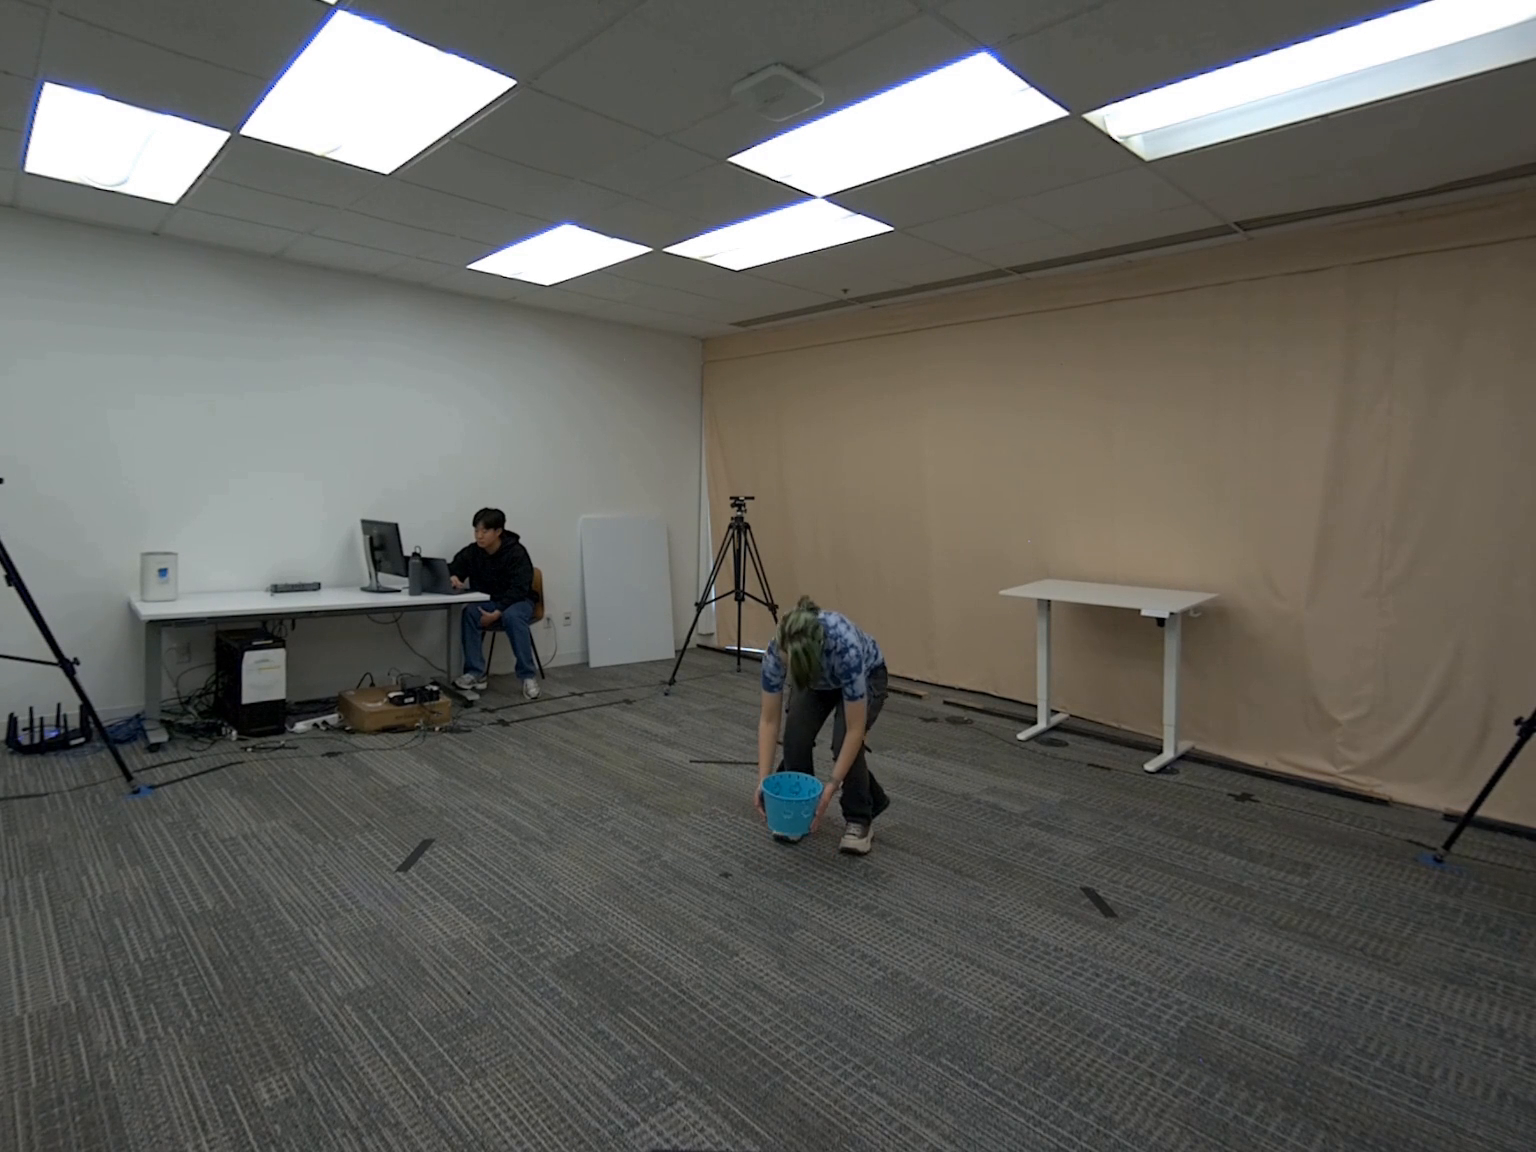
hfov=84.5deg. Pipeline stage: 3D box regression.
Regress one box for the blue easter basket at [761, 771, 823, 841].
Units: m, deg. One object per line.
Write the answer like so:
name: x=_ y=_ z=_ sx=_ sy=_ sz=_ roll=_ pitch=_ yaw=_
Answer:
blue easter basket: x=0.077 y=0.850 z=3.144 sx=0.243 sy=0.155 sz=0.245 roll=2 pitch=10 yaw=-2
